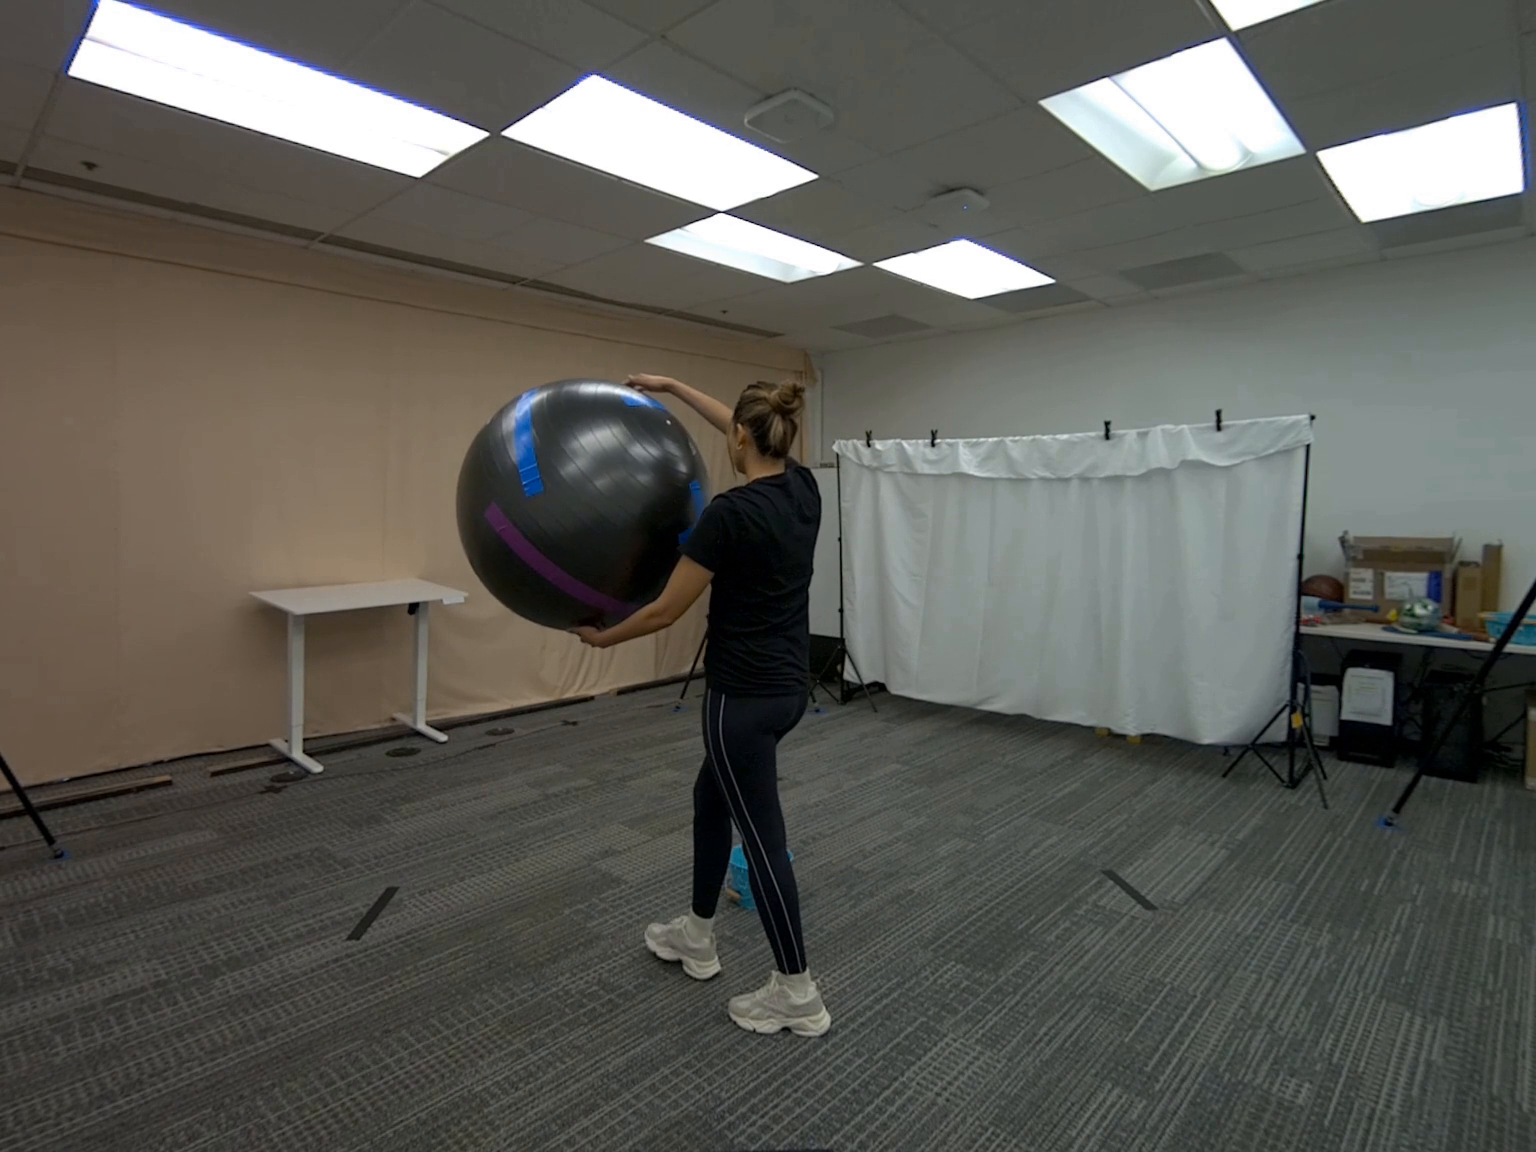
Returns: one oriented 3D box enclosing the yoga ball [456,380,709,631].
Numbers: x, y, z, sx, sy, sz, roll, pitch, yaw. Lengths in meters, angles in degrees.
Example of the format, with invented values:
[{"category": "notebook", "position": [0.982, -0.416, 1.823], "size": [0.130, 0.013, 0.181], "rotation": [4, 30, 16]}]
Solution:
[{"category": "yoga ball", "position": [-0.551, -0.198, 2.523], "size": [0.757, 0.756, 0.761], "rotation": [0, 4, -2]}]
